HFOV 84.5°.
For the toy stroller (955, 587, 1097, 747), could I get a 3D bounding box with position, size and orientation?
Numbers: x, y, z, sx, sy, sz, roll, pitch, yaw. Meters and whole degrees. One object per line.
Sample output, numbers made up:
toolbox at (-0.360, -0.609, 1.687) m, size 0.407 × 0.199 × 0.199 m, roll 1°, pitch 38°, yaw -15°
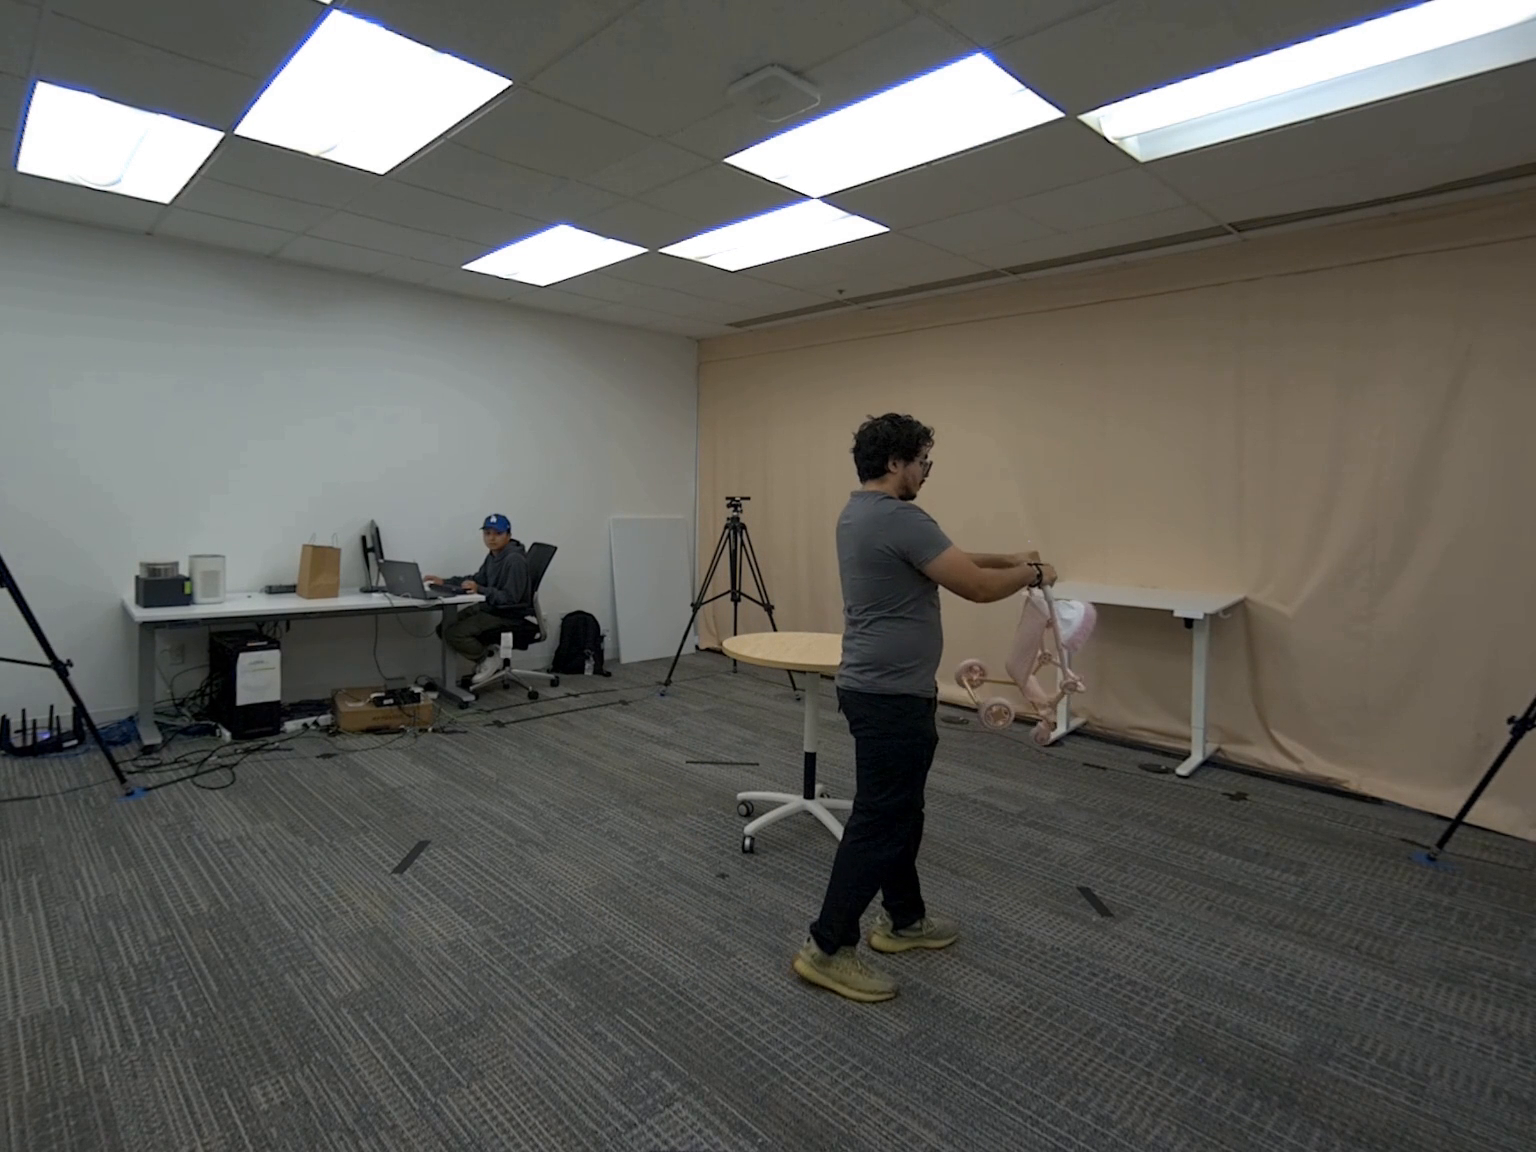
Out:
toy stroller at (0.840, 0.272, 2.643) m, size 0.339 × 0.532 × 0.285 m, roll 22°, pitch 17°, yaw -6°
